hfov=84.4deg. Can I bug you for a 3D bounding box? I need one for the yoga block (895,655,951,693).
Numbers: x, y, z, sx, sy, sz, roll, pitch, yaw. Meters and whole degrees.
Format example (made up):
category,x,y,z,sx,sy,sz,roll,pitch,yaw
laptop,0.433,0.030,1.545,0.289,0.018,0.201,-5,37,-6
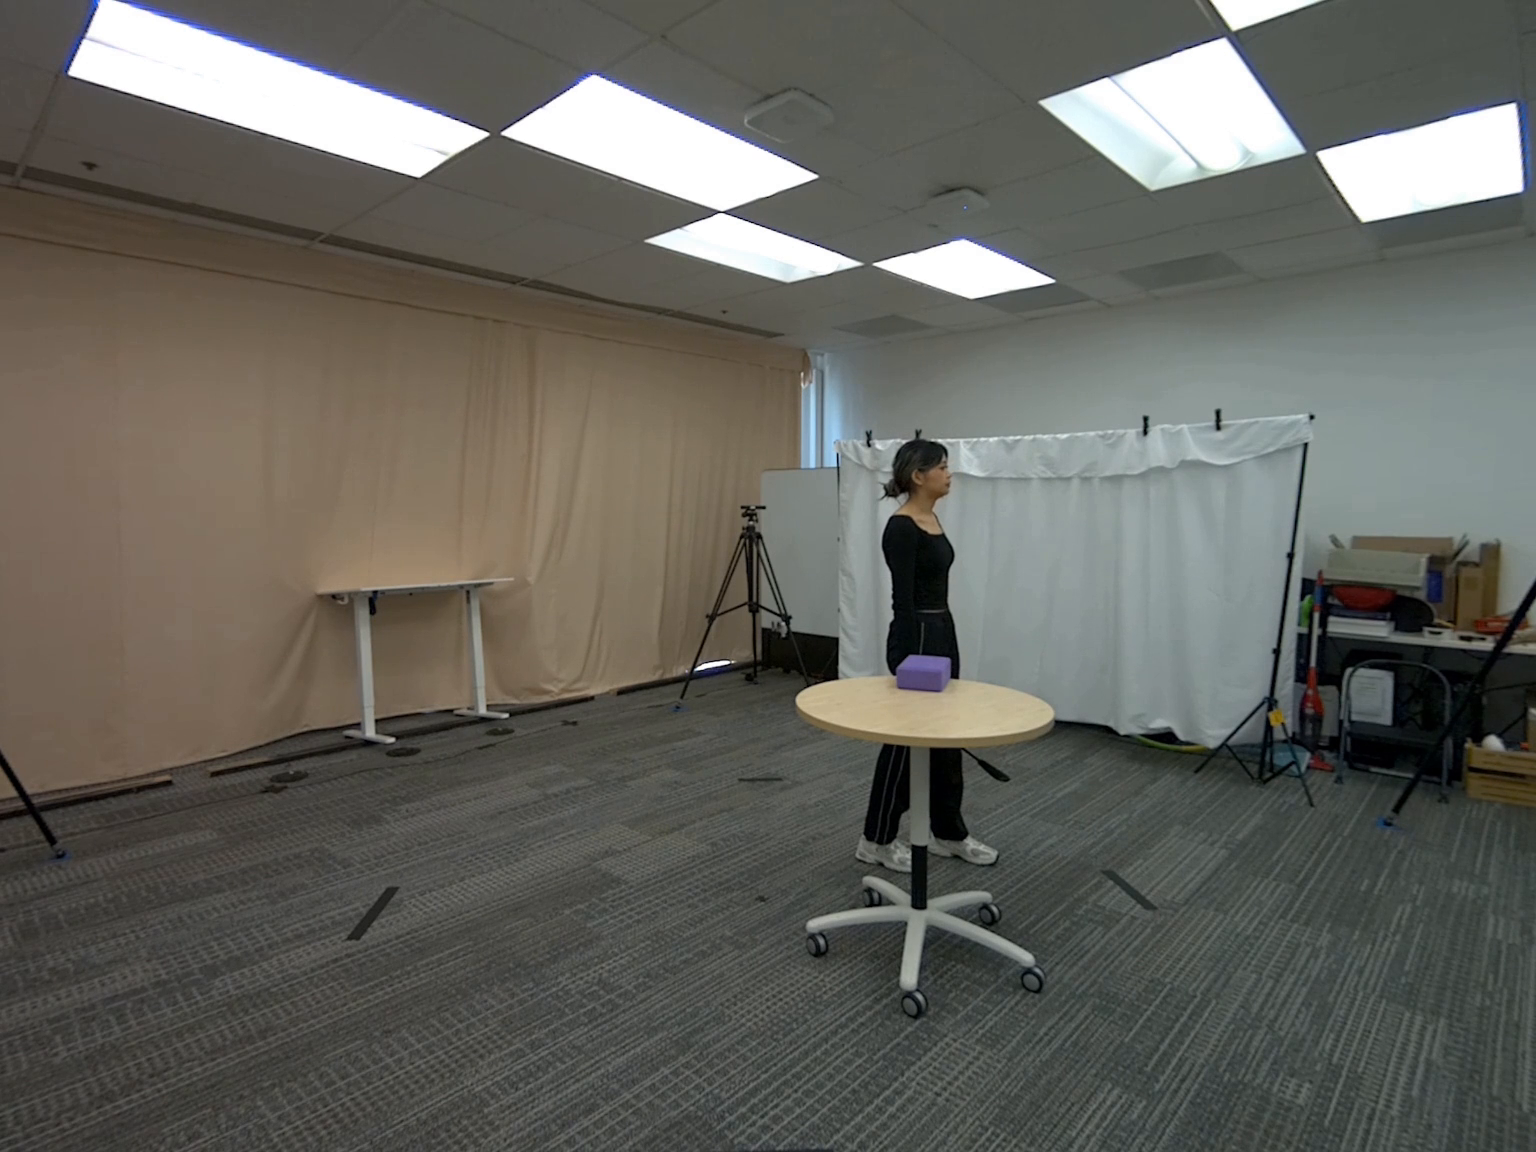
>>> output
category,x,y,z,sx,sy,sz,roll,pitch,yaw
yoga block,0.542,0.332,2.839,0.153,0.076,0.224,3,6,24
